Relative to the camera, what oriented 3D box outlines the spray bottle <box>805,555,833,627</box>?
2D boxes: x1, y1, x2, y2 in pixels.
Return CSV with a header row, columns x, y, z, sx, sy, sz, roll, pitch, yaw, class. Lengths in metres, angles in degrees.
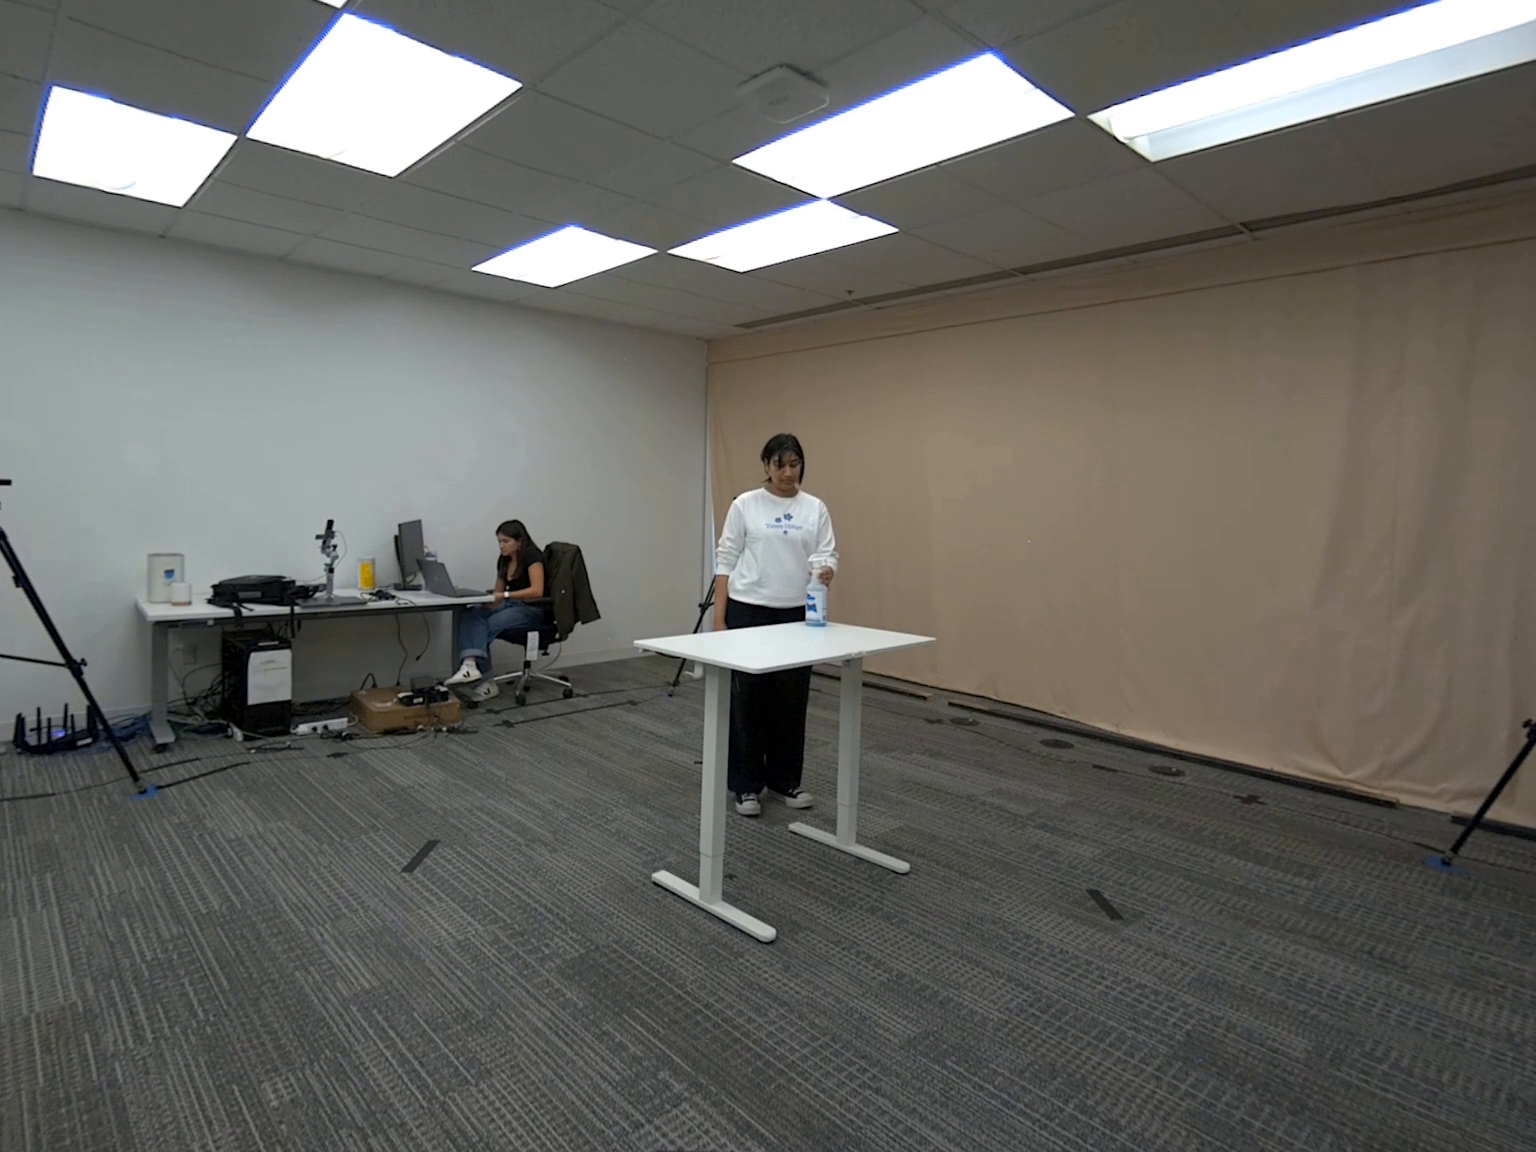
x,y,z,sx,sy,sz,roll,pitch,yaw,class
0.192,0.058,3.460,0.091,0.296,0.086,2,4,11,spray bottle
